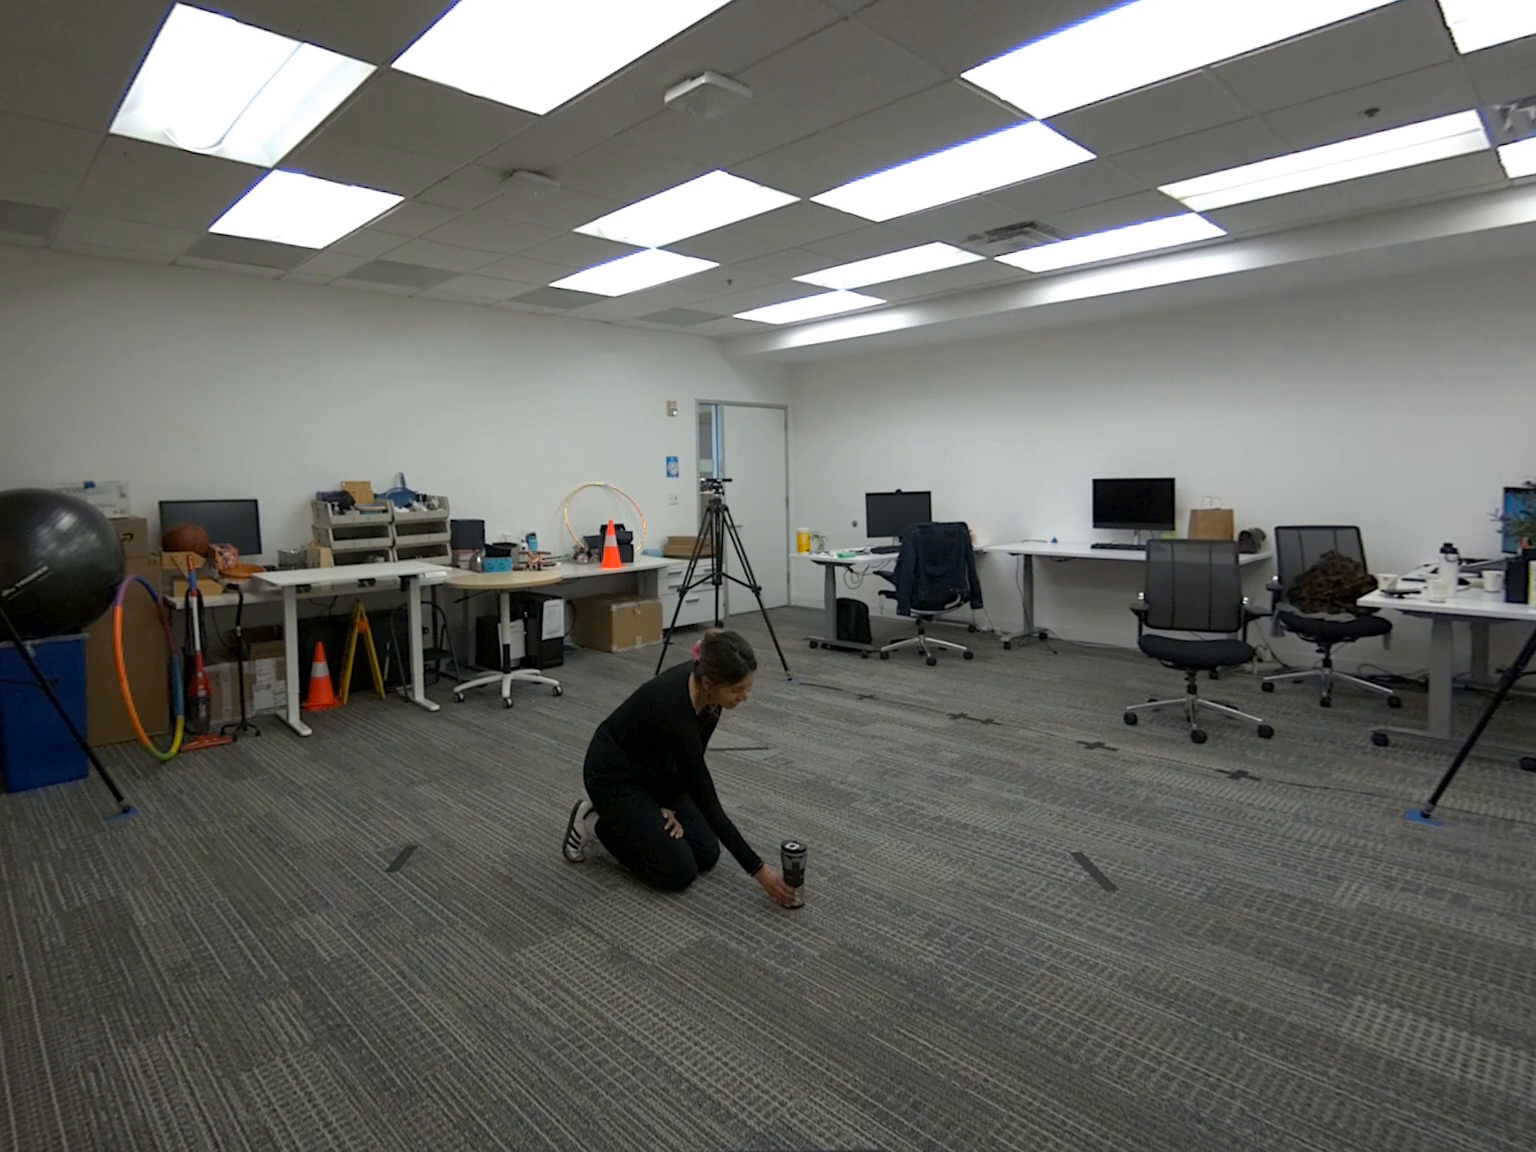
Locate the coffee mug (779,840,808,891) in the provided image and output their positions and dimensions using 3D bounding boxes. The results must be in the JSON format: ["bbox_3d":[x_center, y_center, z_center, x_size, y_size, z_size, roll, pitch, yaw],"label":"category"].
[{"bbox_3d":[0.077,0.977,2.770,0.090,0.202,0.119,5,4,27],"label":"coffee mug"}]
